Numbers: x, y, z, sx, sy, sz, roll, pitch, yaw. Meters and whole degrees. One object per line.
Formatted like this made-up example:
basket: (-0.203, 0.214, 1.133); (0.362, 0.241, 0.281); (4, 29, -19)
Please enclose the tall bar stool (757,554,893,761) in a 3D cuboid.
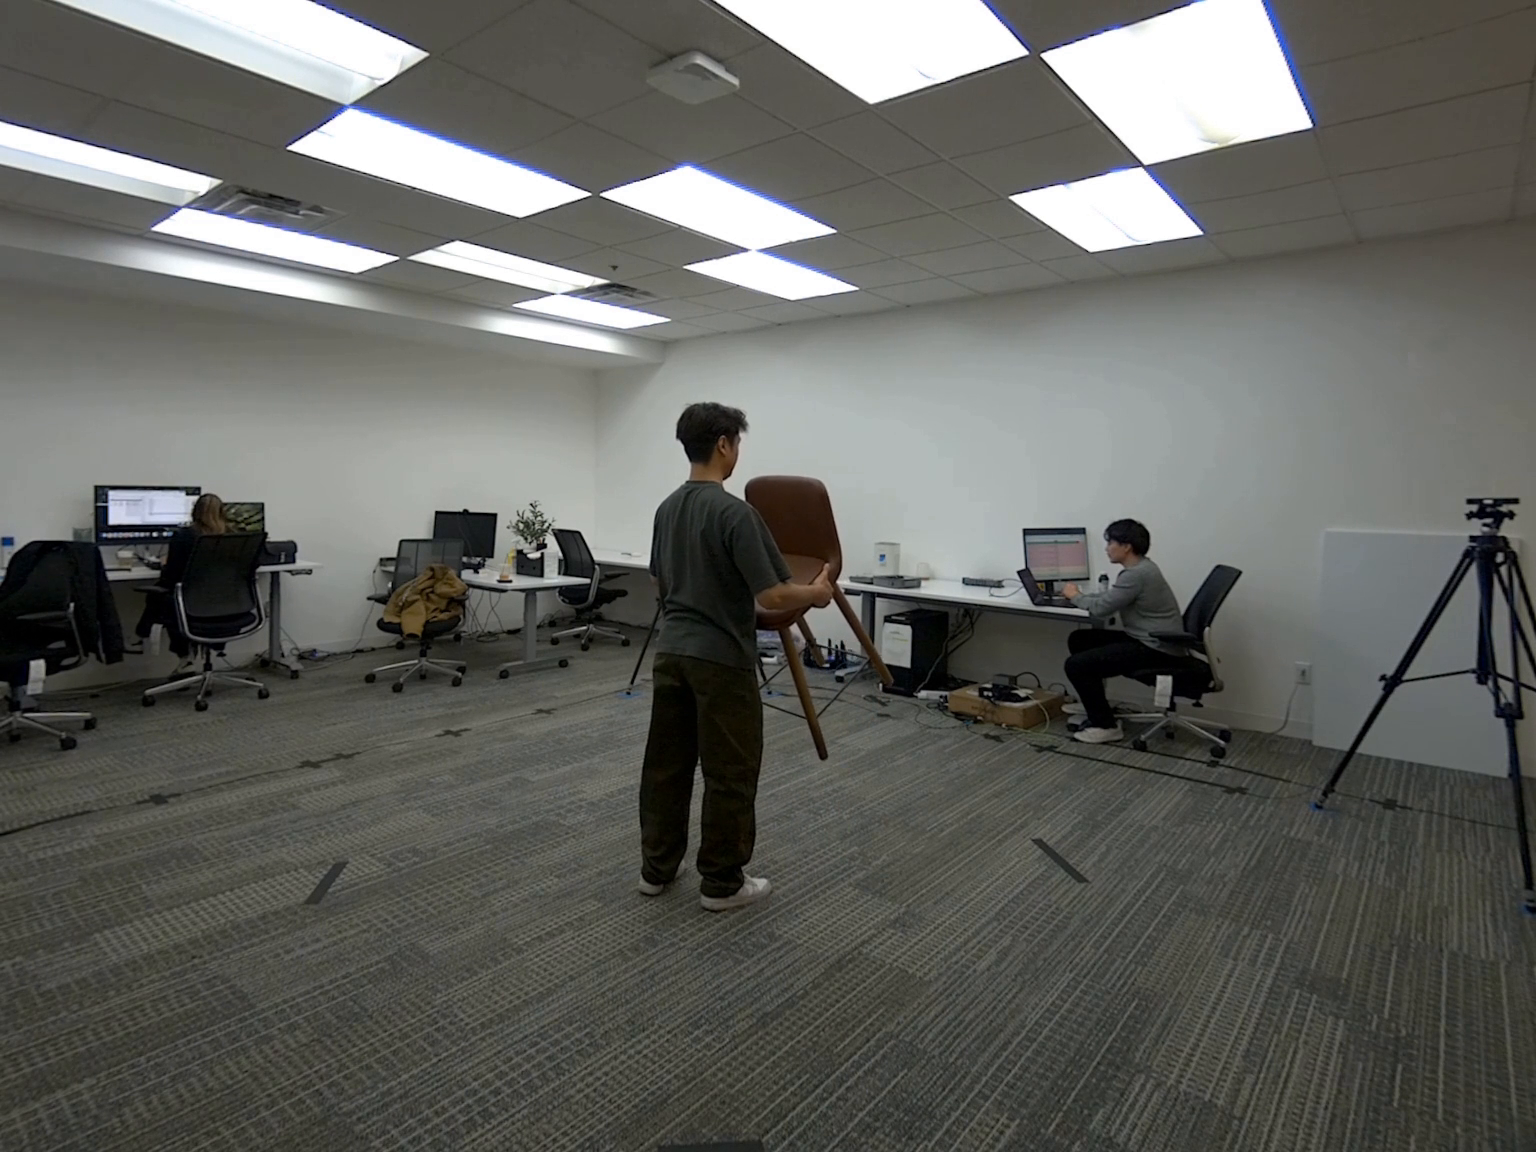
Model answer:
tall bar stool: (0.046, 0.135, 3.077); (0.464, 0.866, 0.473); (-36, 28, -33)
